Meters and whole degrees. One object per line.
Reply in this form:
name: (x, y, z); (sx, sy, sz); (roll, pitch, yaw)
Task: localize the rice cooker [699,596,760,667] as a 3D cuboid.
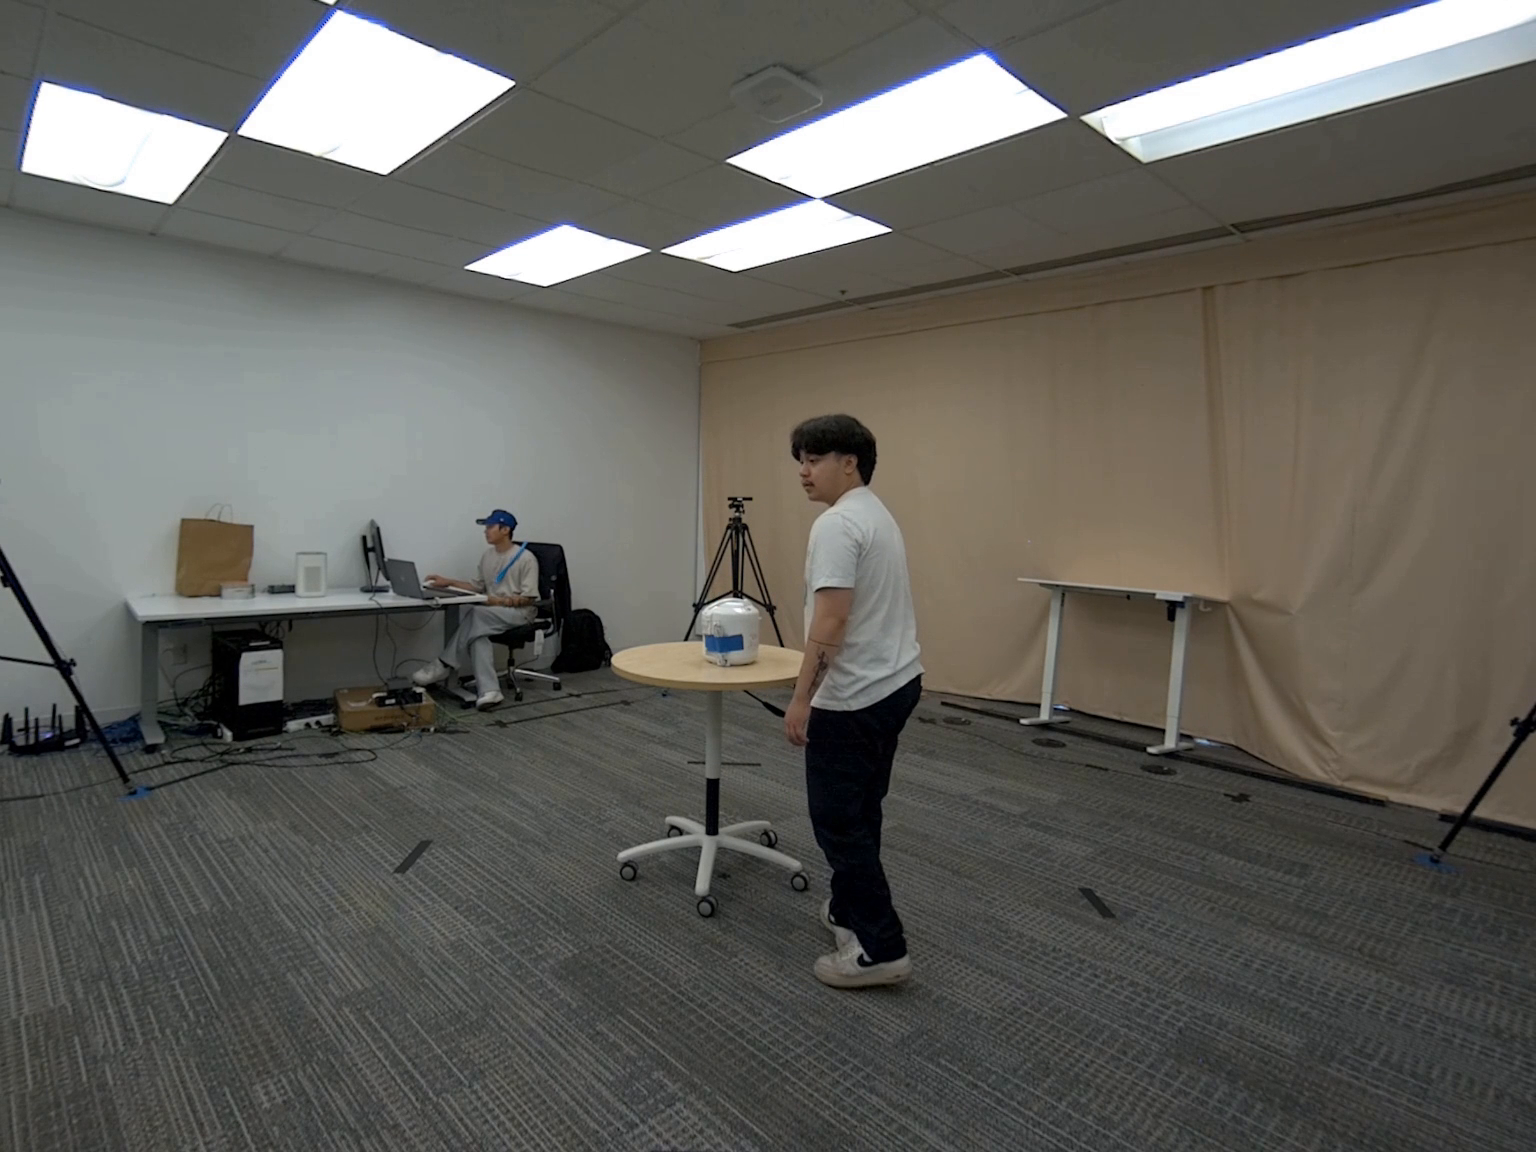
rice cooker: (-0.148, 0.196, 3.077); (0.216, 0.232, 0.222); (-1, 5, -28)
